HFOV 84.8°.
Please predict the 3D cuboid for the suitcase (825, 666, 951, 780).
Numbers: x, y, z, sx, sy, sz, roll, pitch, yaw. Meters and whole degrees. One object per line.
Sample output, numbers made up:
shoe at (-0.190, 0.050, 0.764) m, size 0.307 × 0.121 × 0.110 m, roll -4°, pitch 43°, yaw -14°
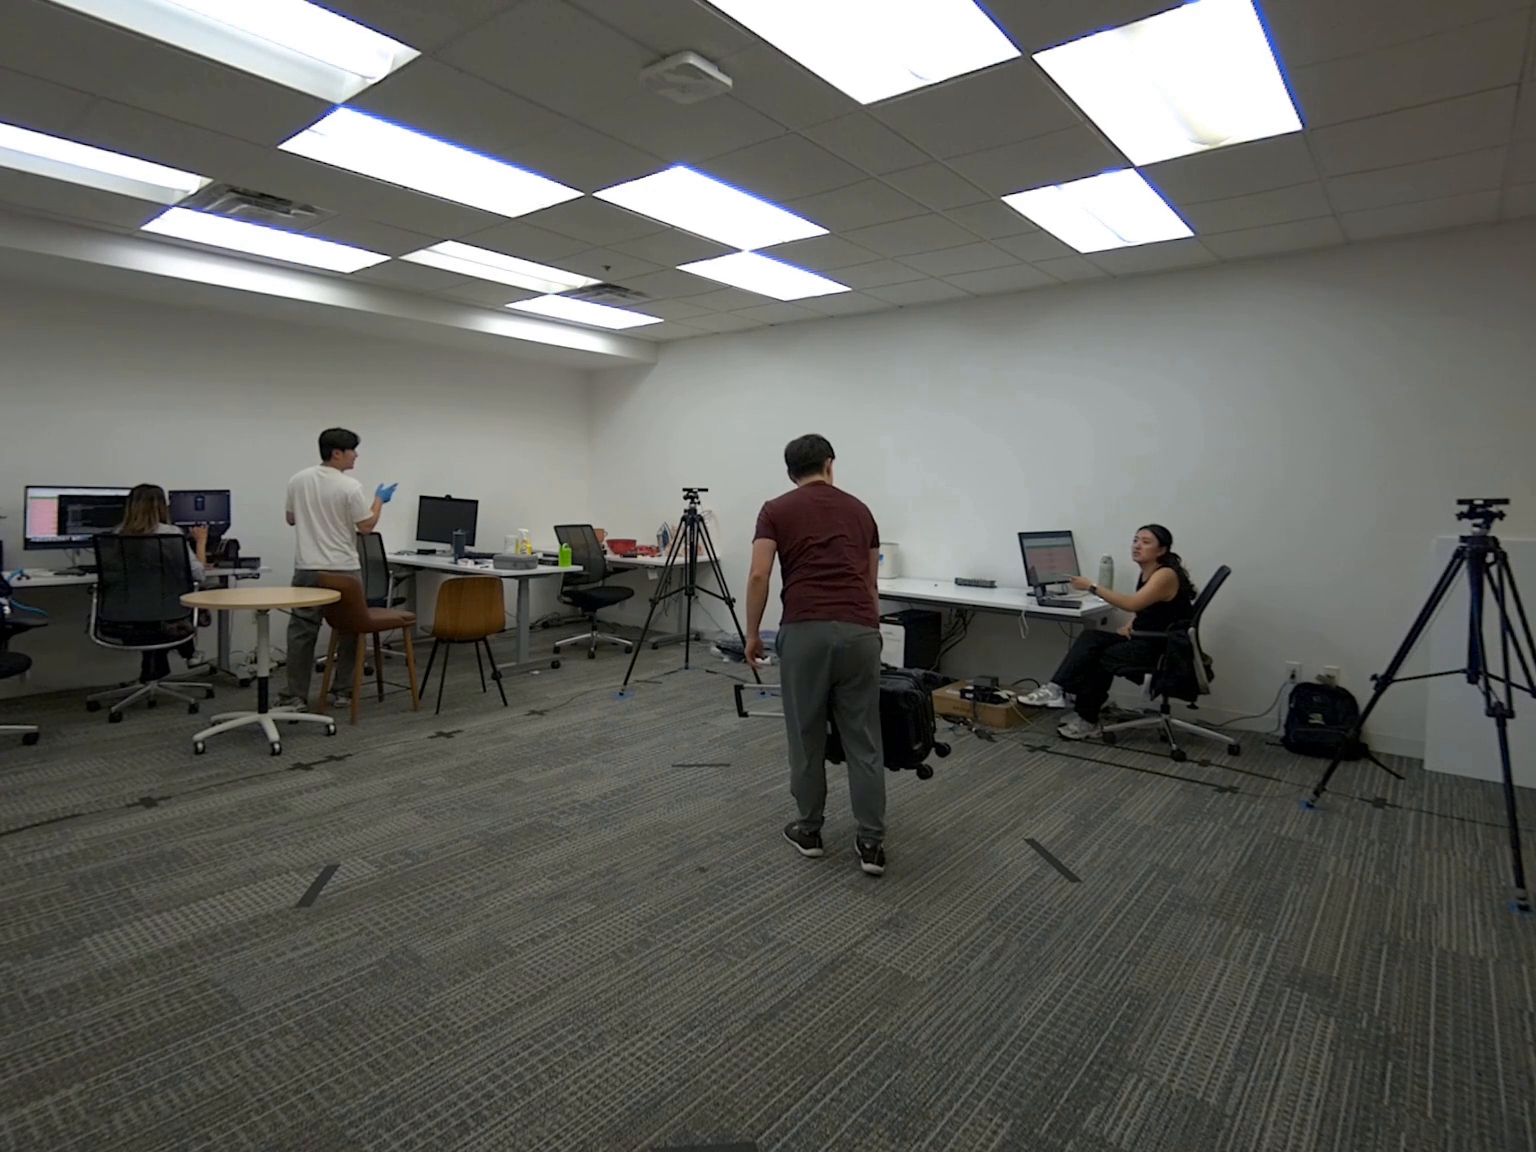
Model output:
suitcase at (0.229, 0.566, 3.556) m, size 1.005 × 0.381 × 0.252 m, roll -2°, pitch 8°, yaw 31°
